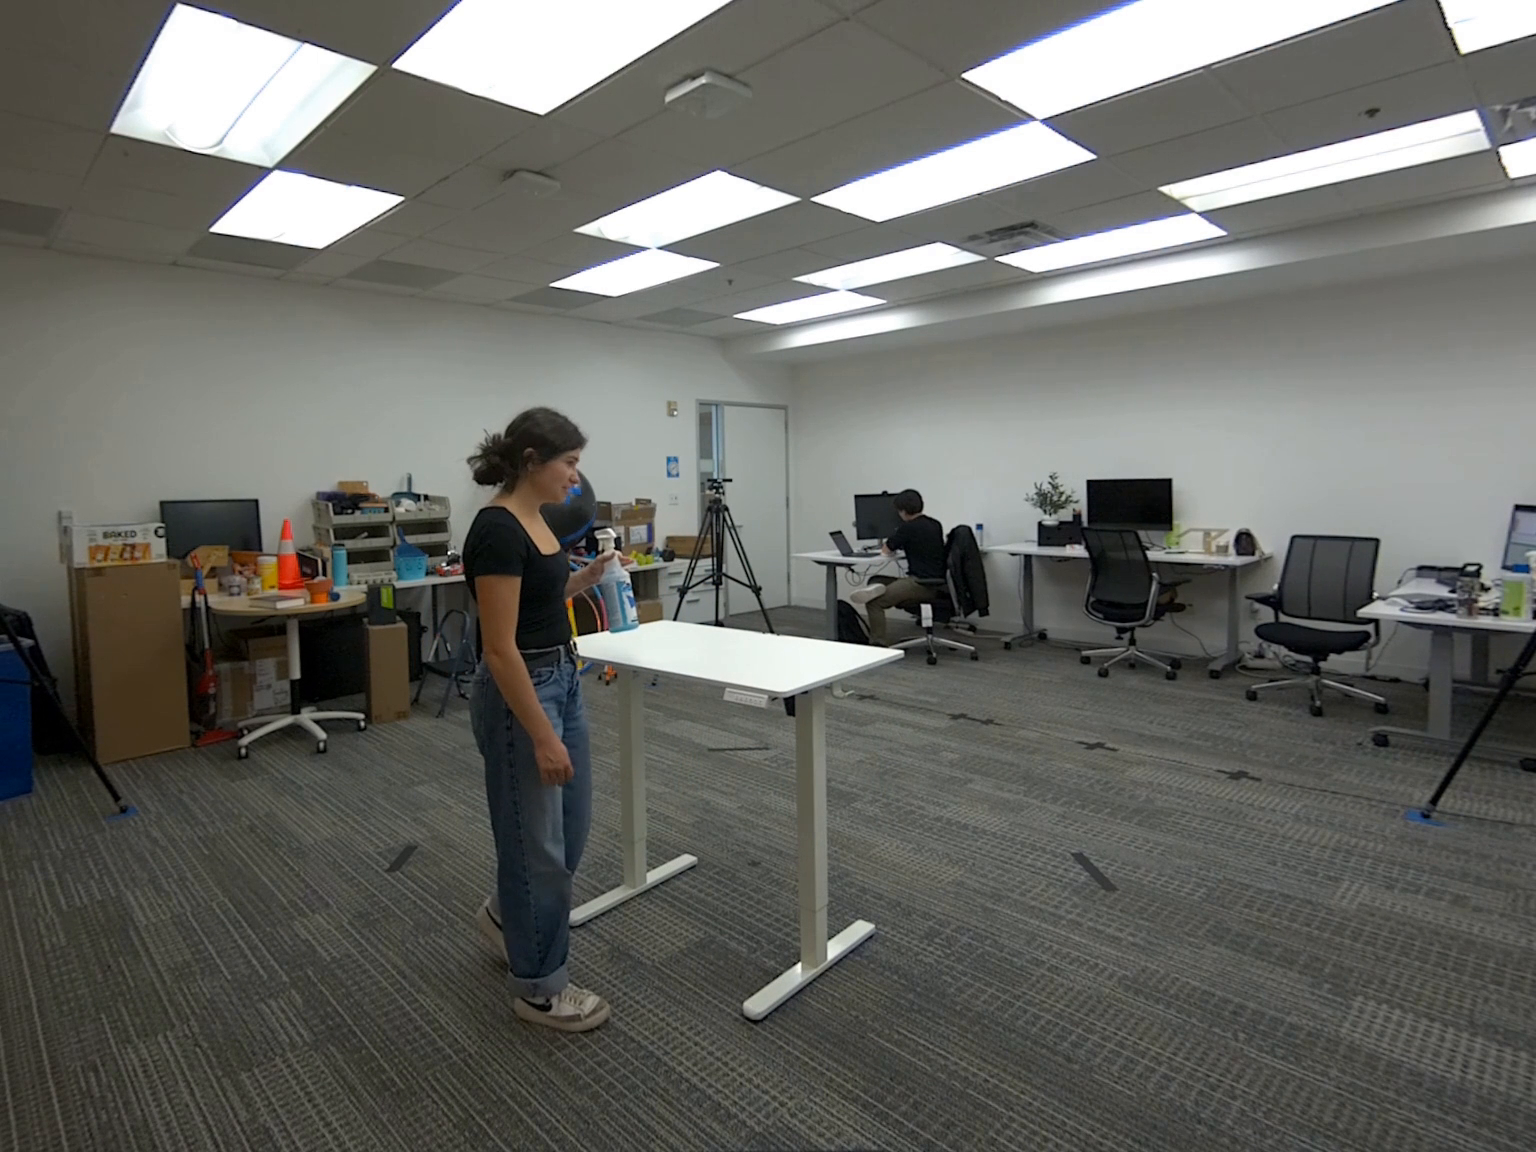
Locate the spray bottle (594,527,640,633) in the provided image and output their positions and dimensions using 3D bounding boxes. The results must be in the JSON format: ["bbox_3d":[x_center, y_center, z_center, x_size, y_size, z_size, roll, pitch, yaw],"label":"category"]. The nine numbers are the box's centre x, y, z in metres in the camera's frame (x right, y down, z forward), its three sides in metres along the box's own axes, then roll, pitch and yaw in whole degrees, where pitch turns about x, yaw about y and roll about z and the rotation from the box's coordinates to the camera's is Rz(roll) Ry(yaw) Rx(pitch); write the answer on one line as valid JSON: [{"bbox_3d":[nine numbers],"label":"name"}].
[{"bbox_3d":[-0.437,0.013,2.426,0.086,0.299,0.091,-10,-4,-19],"label":"spray bottle"}]
